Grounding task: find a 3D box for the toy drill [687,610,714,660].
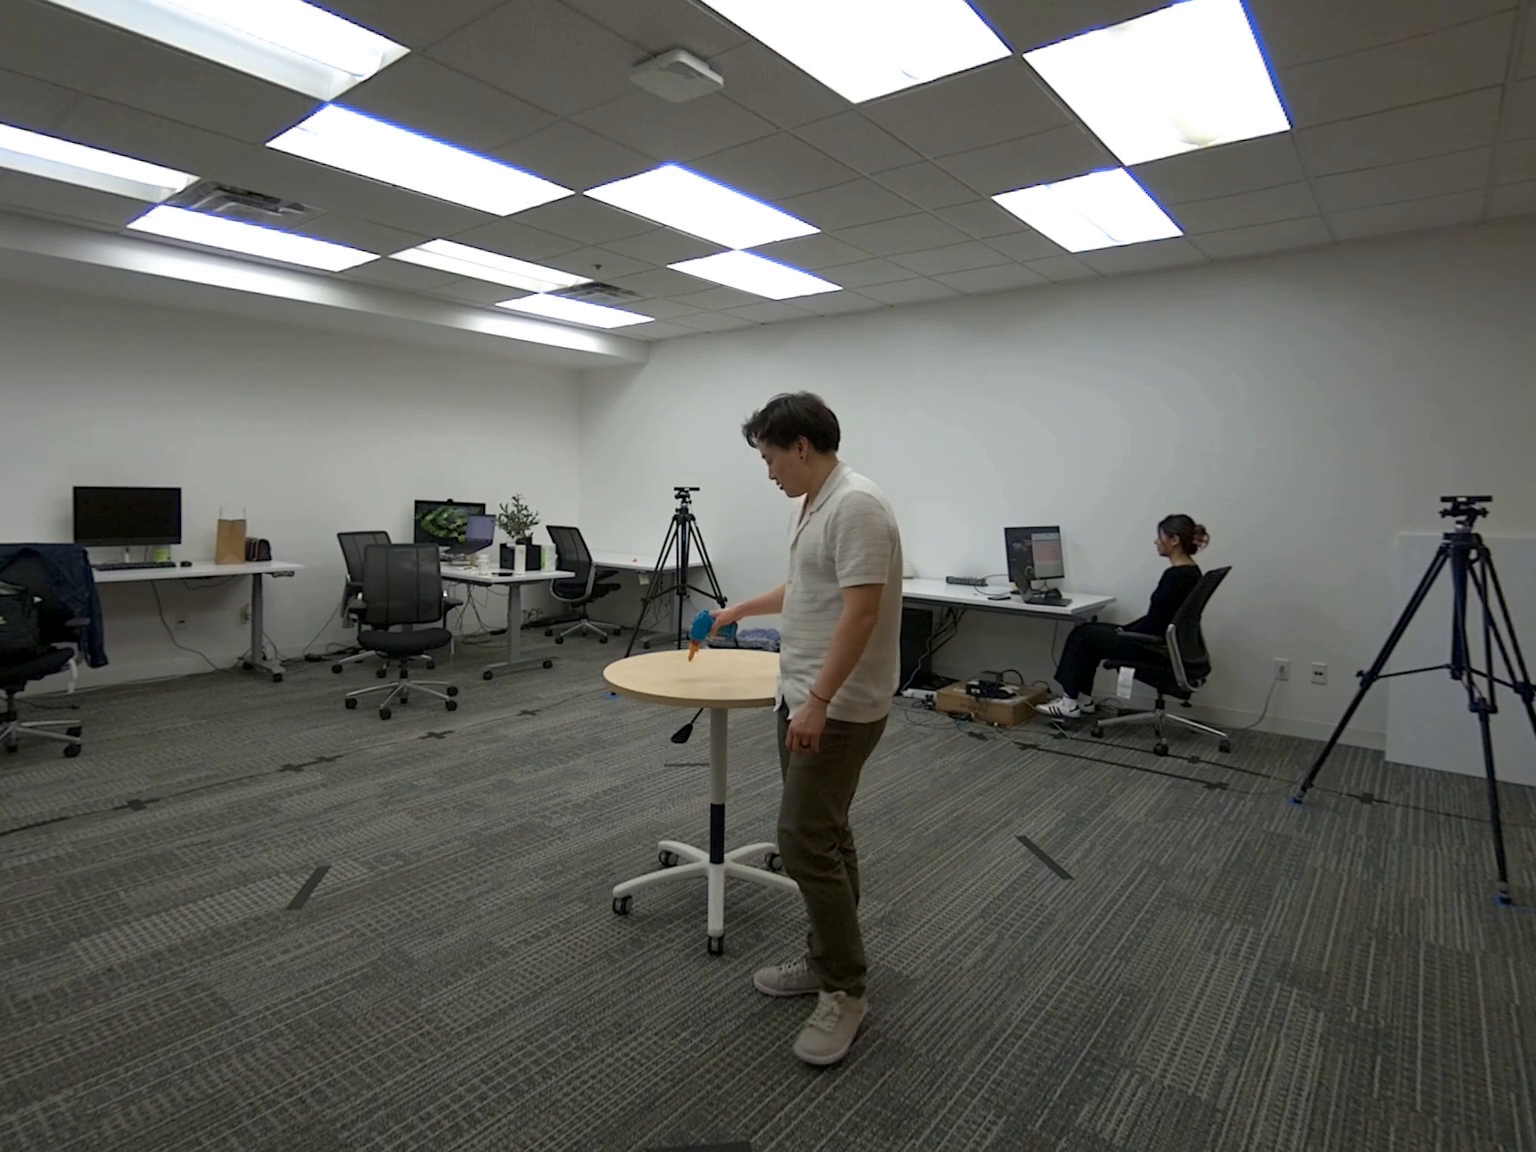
[{"bbox_3d":[-0.195,0.200,2.669,0.144,0.170,0.062,16,-5,-9],"label":"toy drill"}]
